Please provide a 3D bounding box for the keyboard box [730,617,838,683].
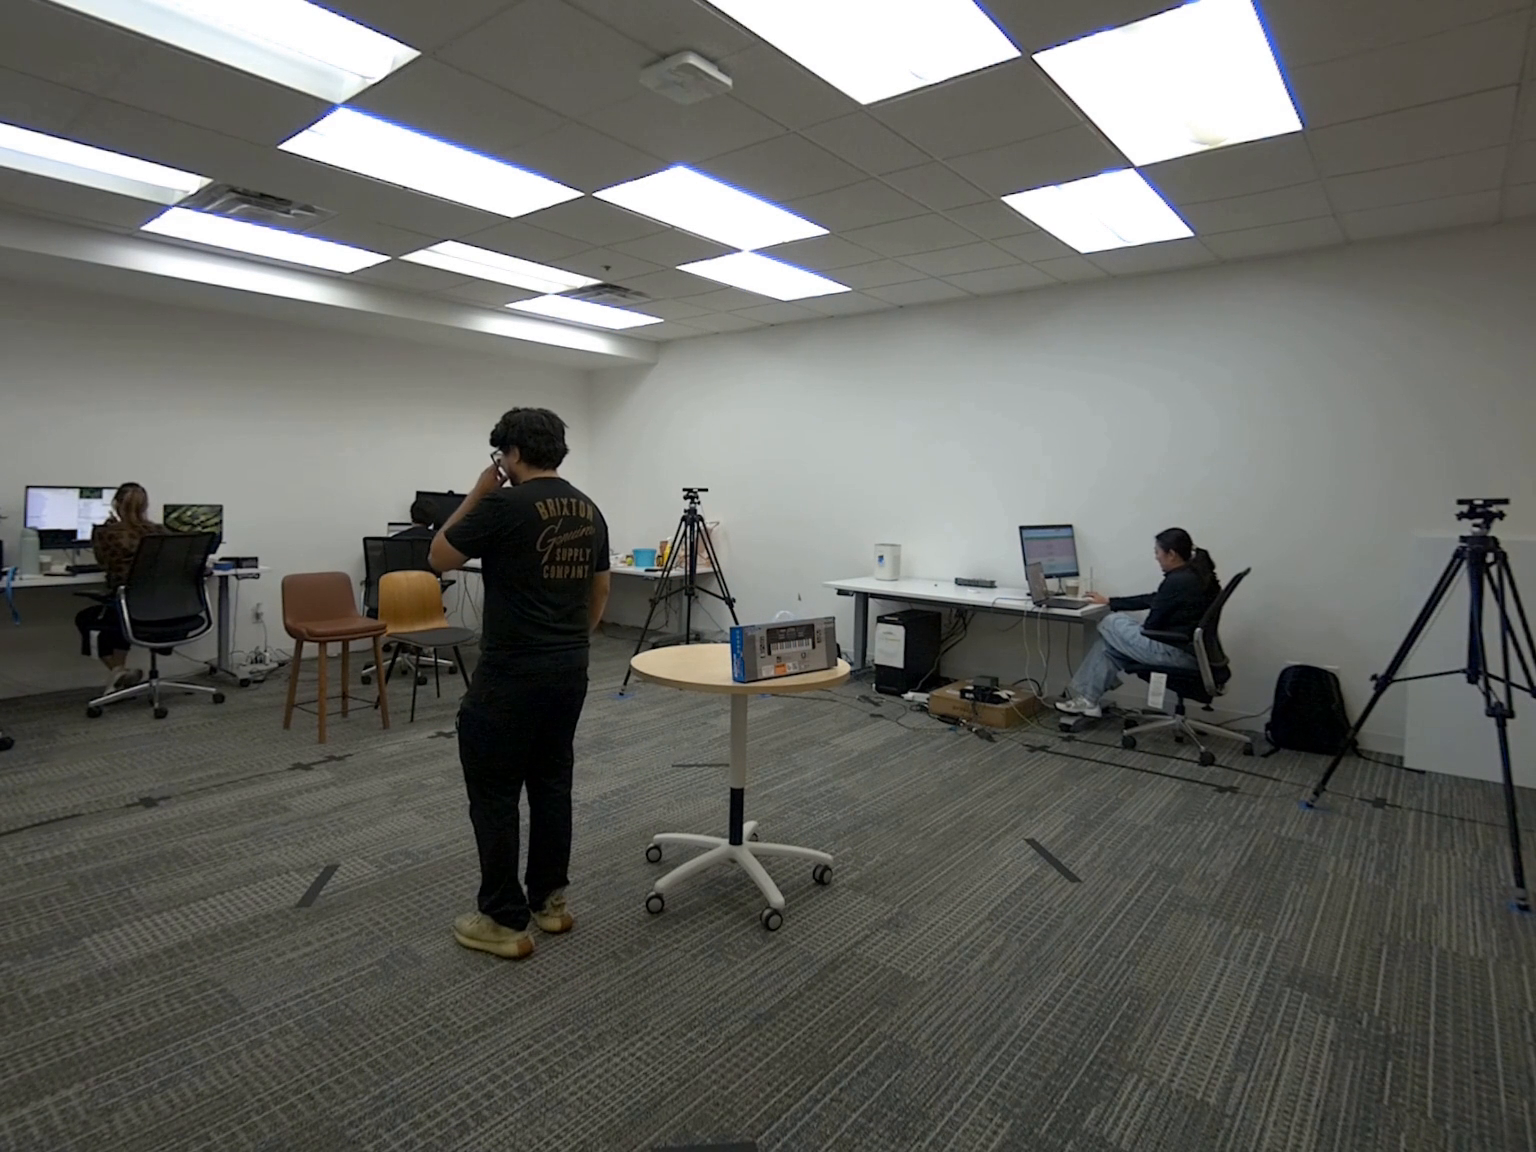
[{"bbox_3d":[0.051,0.236,2.782,0.423,0.176,0.061,-3,-2,-42],"label":"keyboard box"}]
